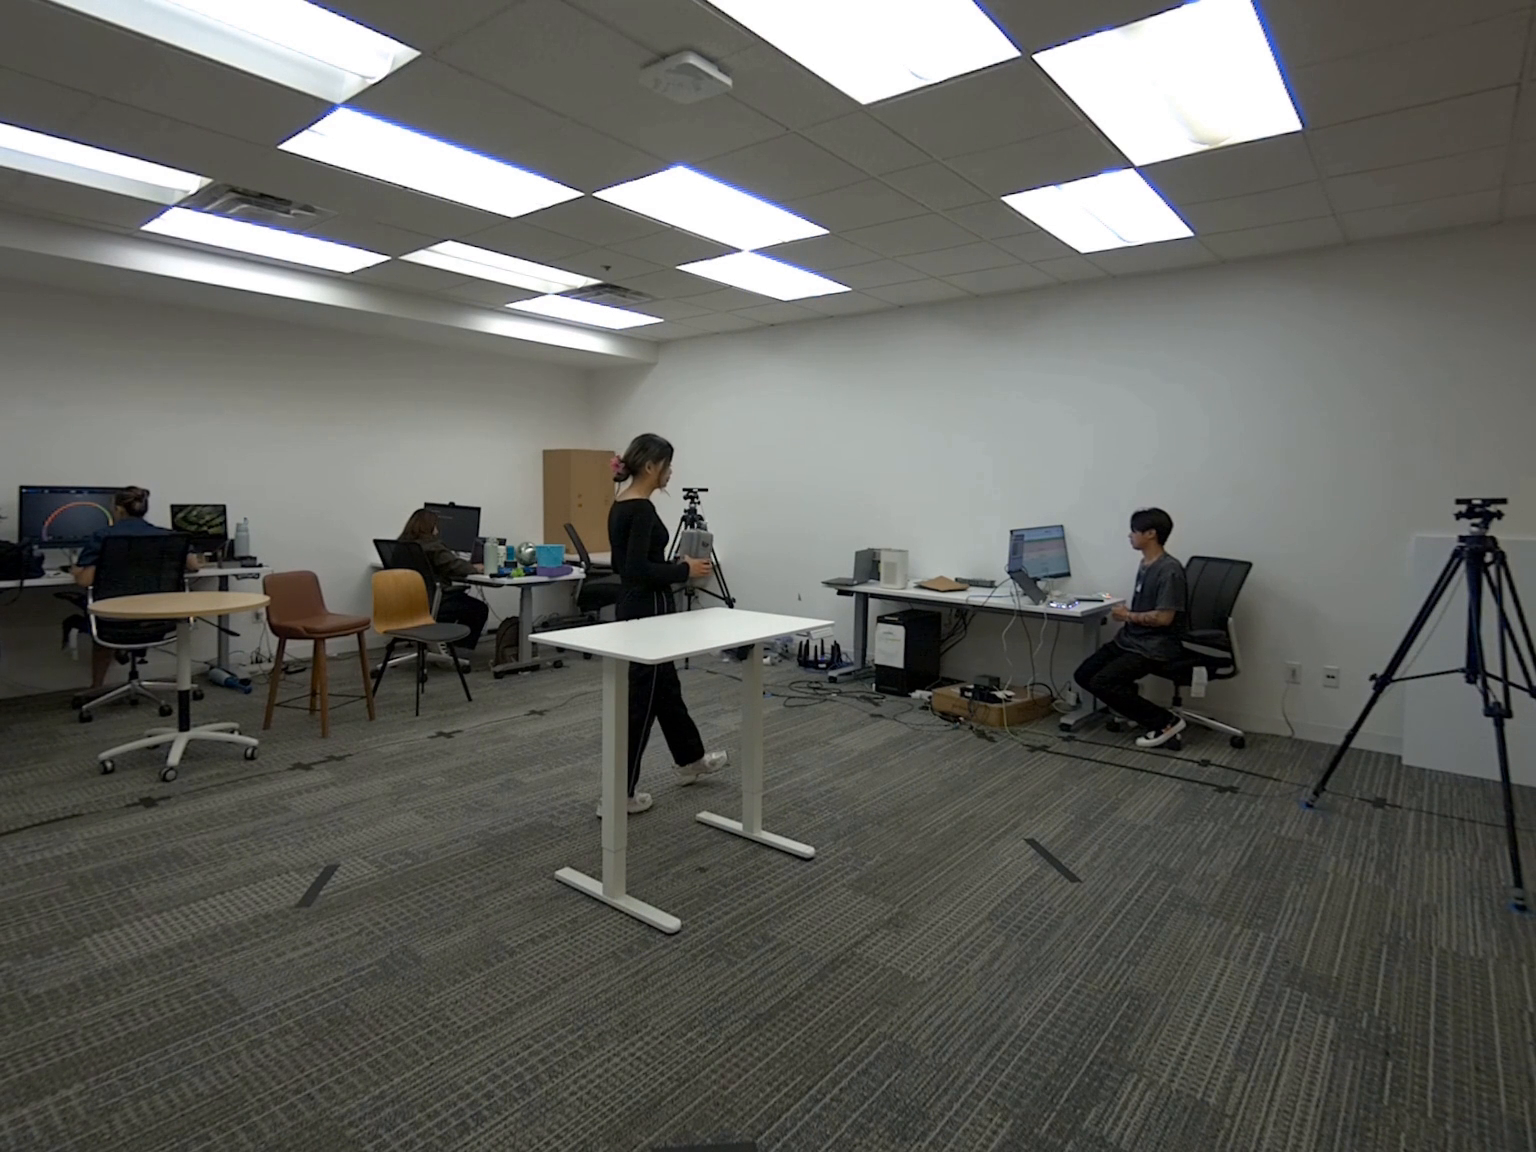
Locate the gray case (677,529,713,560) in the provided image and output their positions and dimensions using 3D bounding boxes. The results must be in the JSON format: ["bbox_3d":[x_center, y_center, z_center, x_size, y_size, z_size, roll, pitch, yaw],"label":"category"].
[{"bbox_3d":[-0.343,-0.089,3.794,0.102,0.261,0.261,9,0,-16],"label":"gray case"}]
